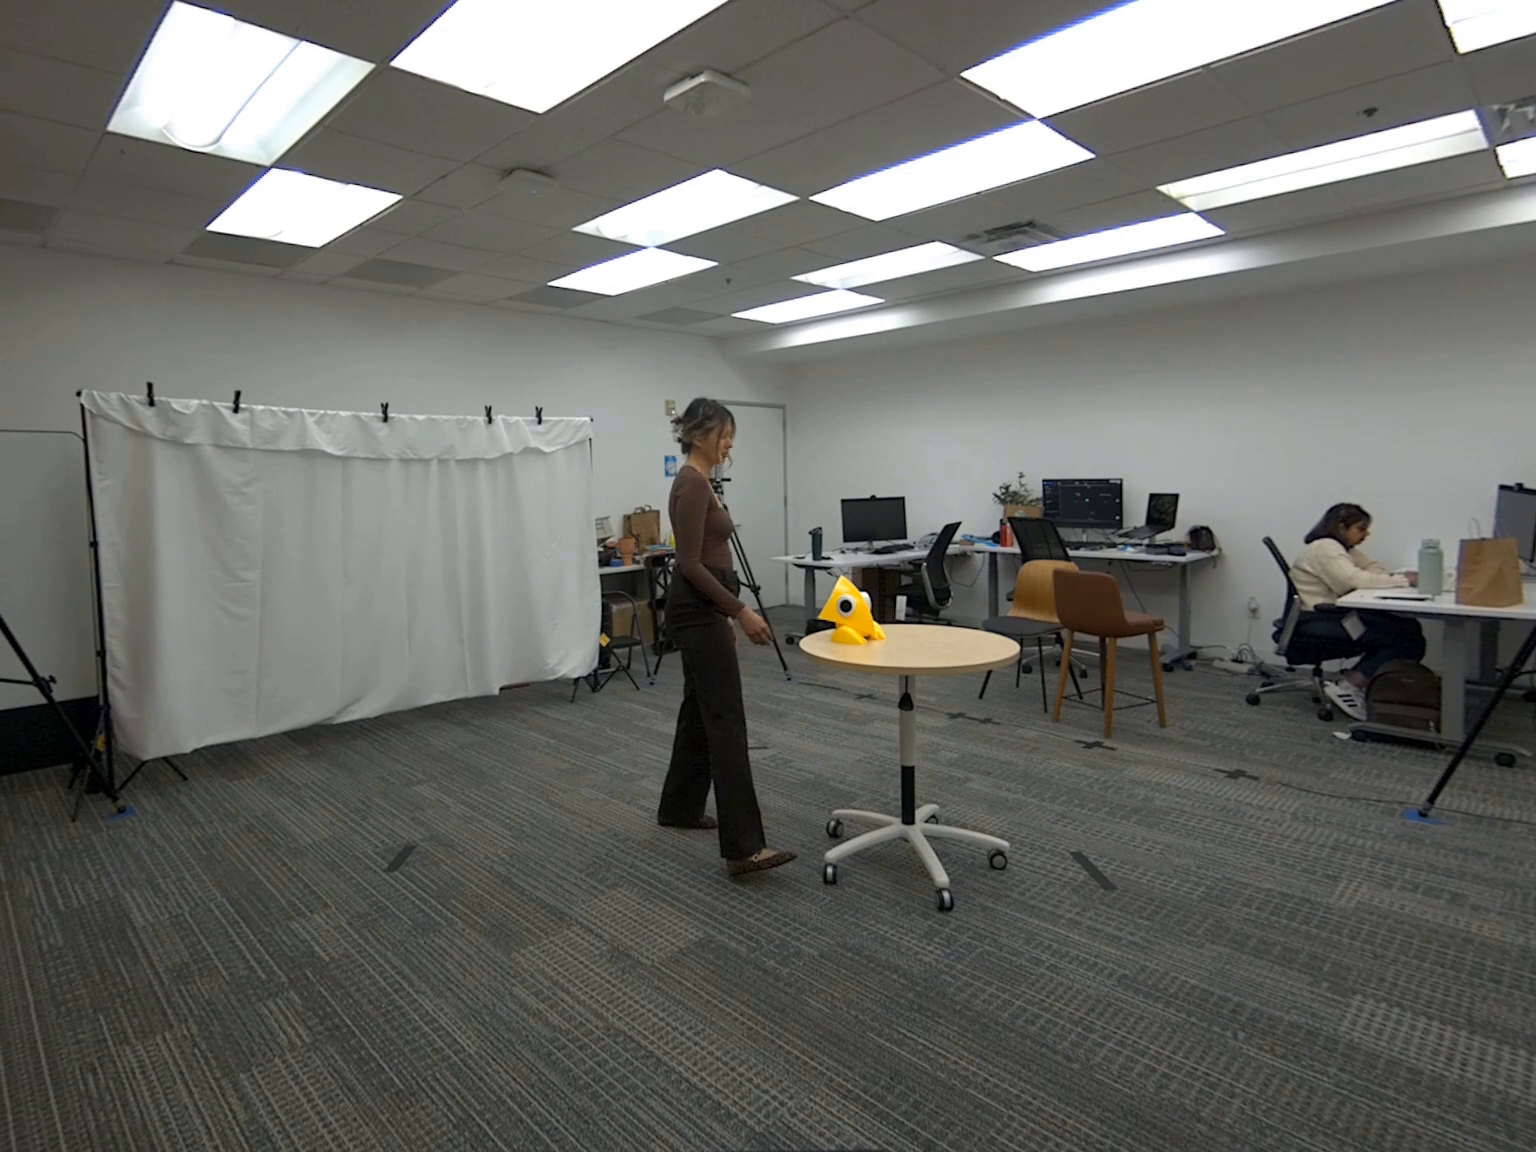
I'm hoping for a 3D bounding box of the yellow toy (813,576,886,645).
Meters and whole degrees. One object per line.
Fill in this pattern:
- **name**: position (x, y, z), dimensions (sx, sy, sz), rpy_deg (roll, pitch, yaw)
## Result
- **yellow toy**: position (0.319, 0.117, 3.161), dimensions (0.199, 0.230, 0.199), rpy_deg (-5, 6, -42)
